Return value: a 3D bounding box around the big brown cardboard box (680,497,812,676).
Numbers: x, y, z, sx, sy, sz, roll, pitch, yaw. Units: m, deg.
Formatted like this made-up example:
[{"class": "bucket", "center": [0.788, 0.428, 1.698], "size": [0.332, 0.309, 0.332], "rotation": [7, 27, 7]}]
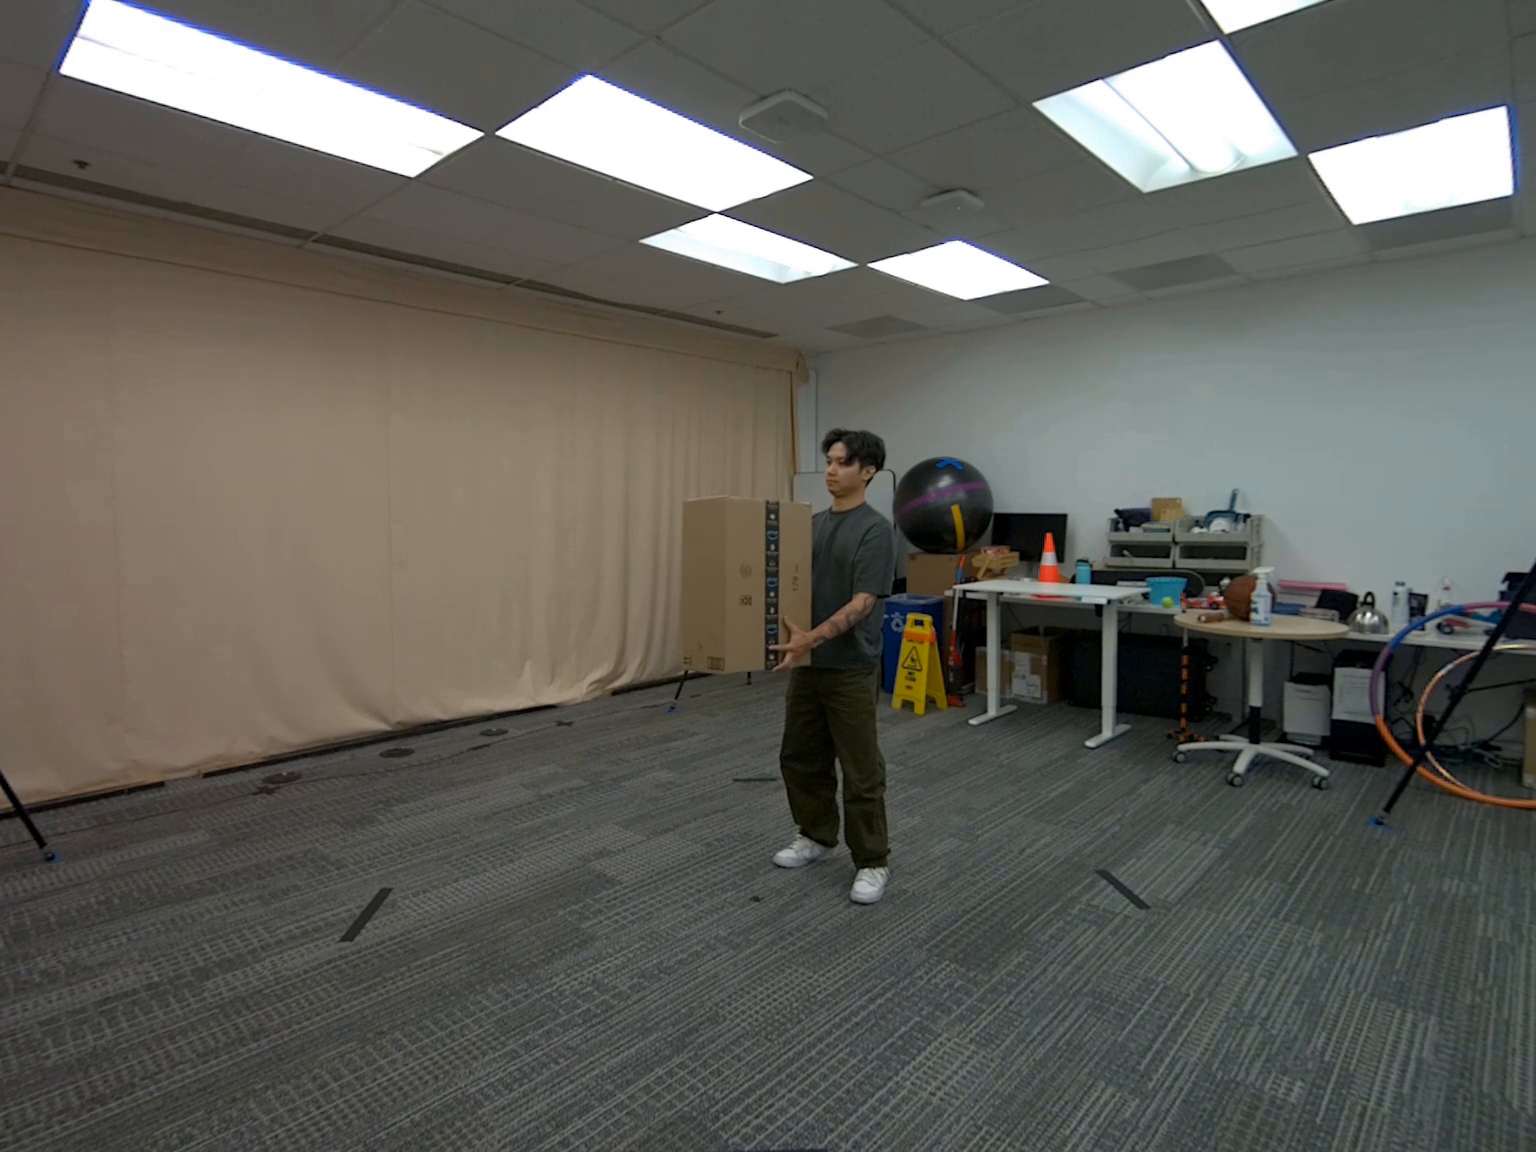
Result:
[{"class": "big brown cardboard box", "center": [-0.065, 0.021, 2.866], "size": [0.404, 0.590, 0.240], "rotation": [2, -3, -45]}]
